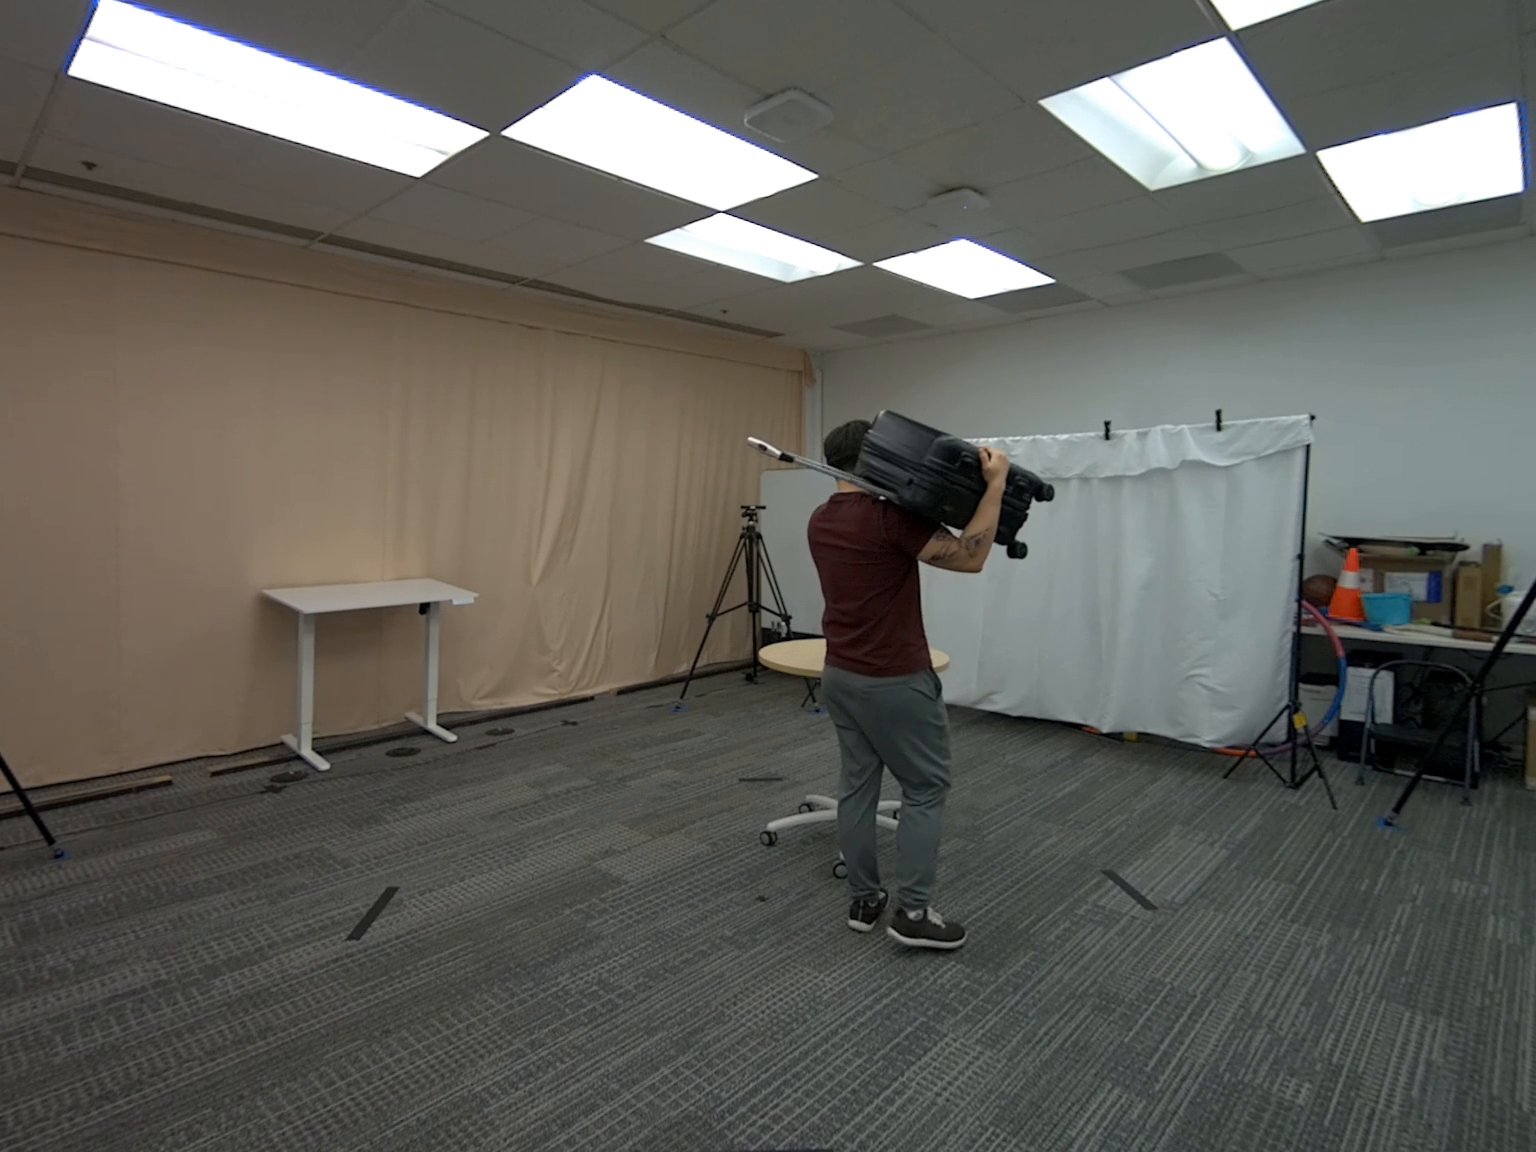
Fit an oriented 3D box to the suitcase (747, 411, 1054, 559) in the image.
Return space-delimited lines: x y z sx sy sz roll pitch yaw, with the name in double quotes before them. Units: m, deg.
"suitcase" 0.414 -0.340 2.472 0.946 0.256 0.398 15 16 -36
